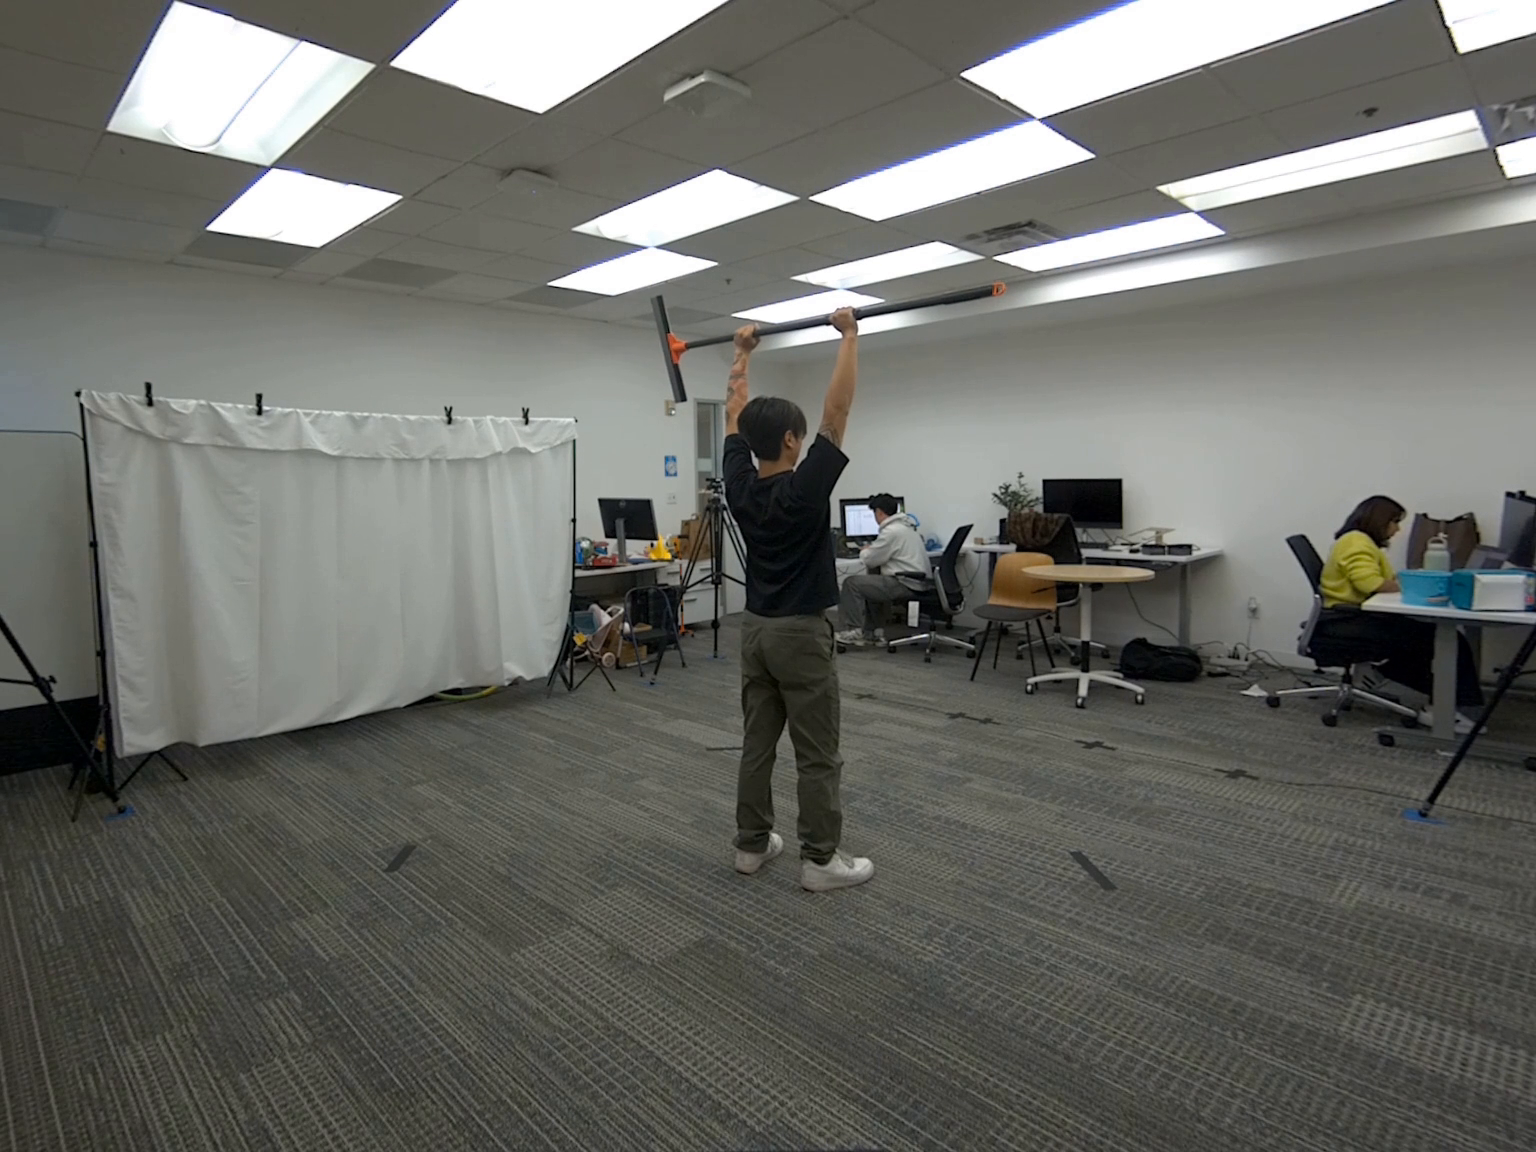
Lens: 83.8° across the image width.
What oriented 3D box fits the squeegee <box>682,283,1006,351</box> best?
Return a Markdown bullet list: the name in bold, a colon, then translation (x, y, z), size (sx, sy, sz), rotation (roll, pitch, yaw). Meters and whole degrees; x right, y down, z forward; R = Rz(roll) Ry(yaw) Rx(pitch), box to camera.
- **squeegee**: translation (0.119, -0.849, 2.915), size (0.052, 0.431, 1.587), rotation (-20, 18, -39)
